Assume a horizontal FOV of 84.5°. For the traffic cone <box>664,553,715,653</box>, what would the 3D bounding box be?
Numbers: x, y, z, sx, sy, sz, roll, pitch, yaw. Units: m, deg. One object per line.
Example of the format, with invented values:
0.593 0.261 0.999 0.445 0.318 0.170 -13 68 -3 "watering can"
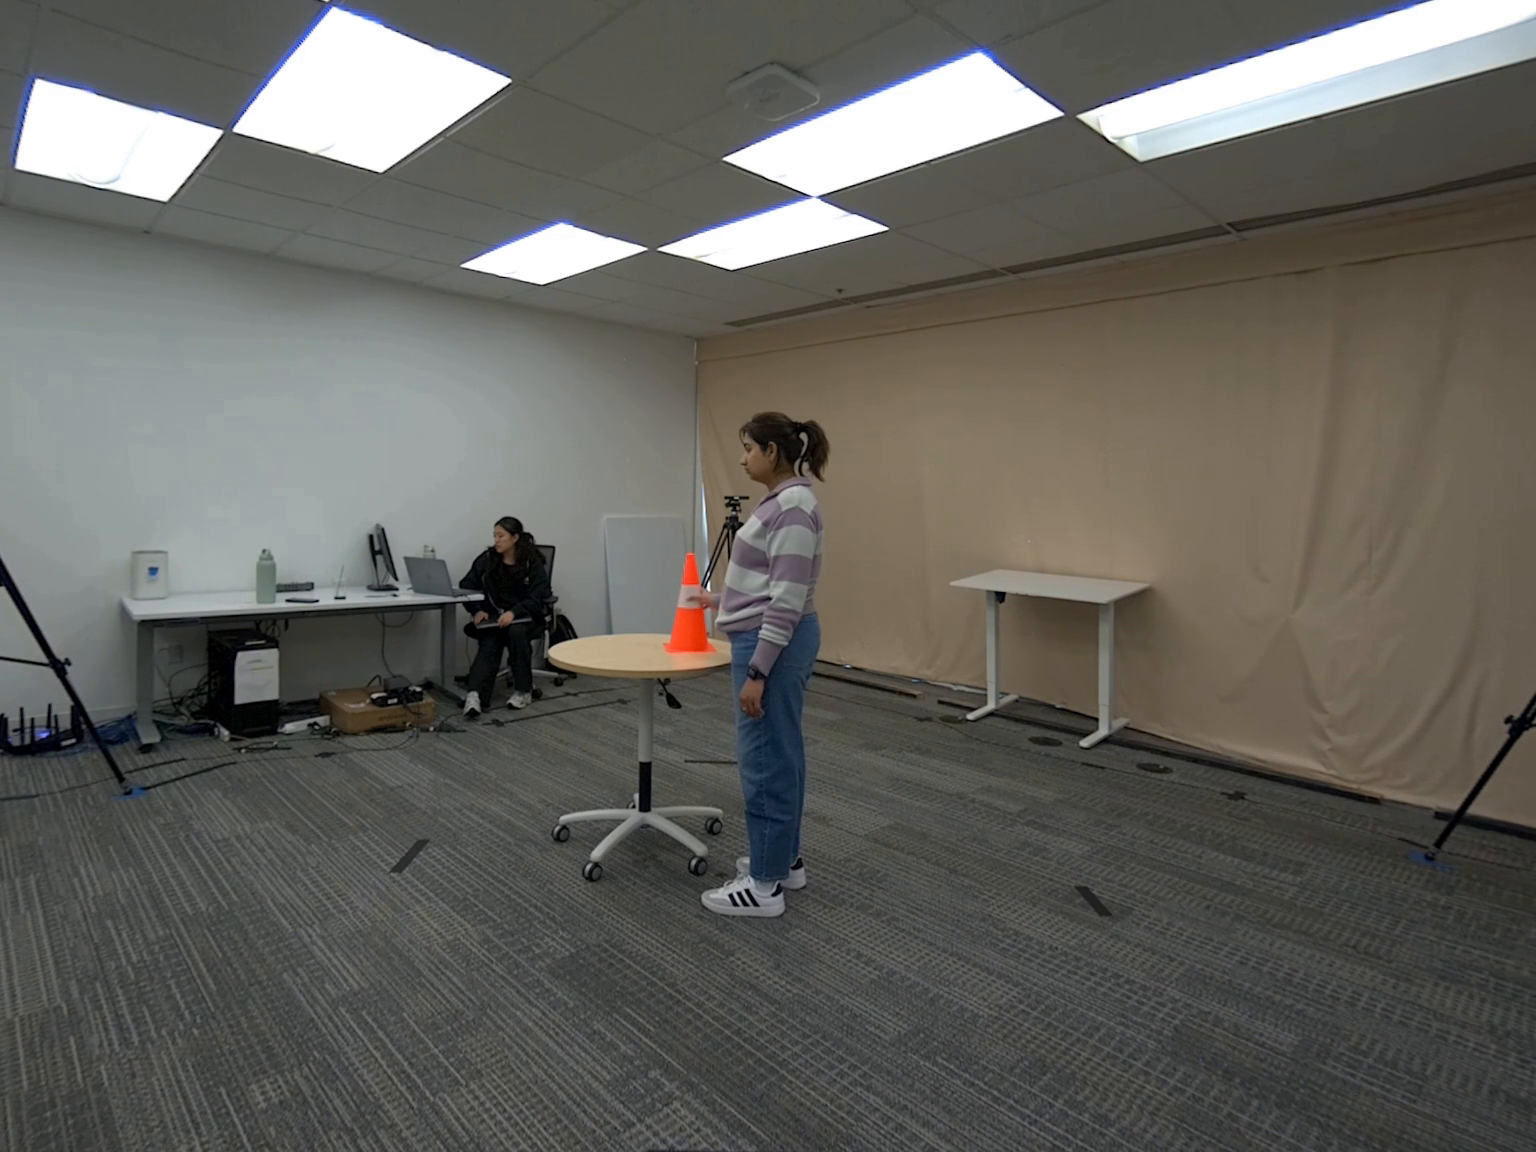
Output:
-0.316 0.102 3.374 0.203 0.382 0.206 3 5 -11 "traffic cone"
